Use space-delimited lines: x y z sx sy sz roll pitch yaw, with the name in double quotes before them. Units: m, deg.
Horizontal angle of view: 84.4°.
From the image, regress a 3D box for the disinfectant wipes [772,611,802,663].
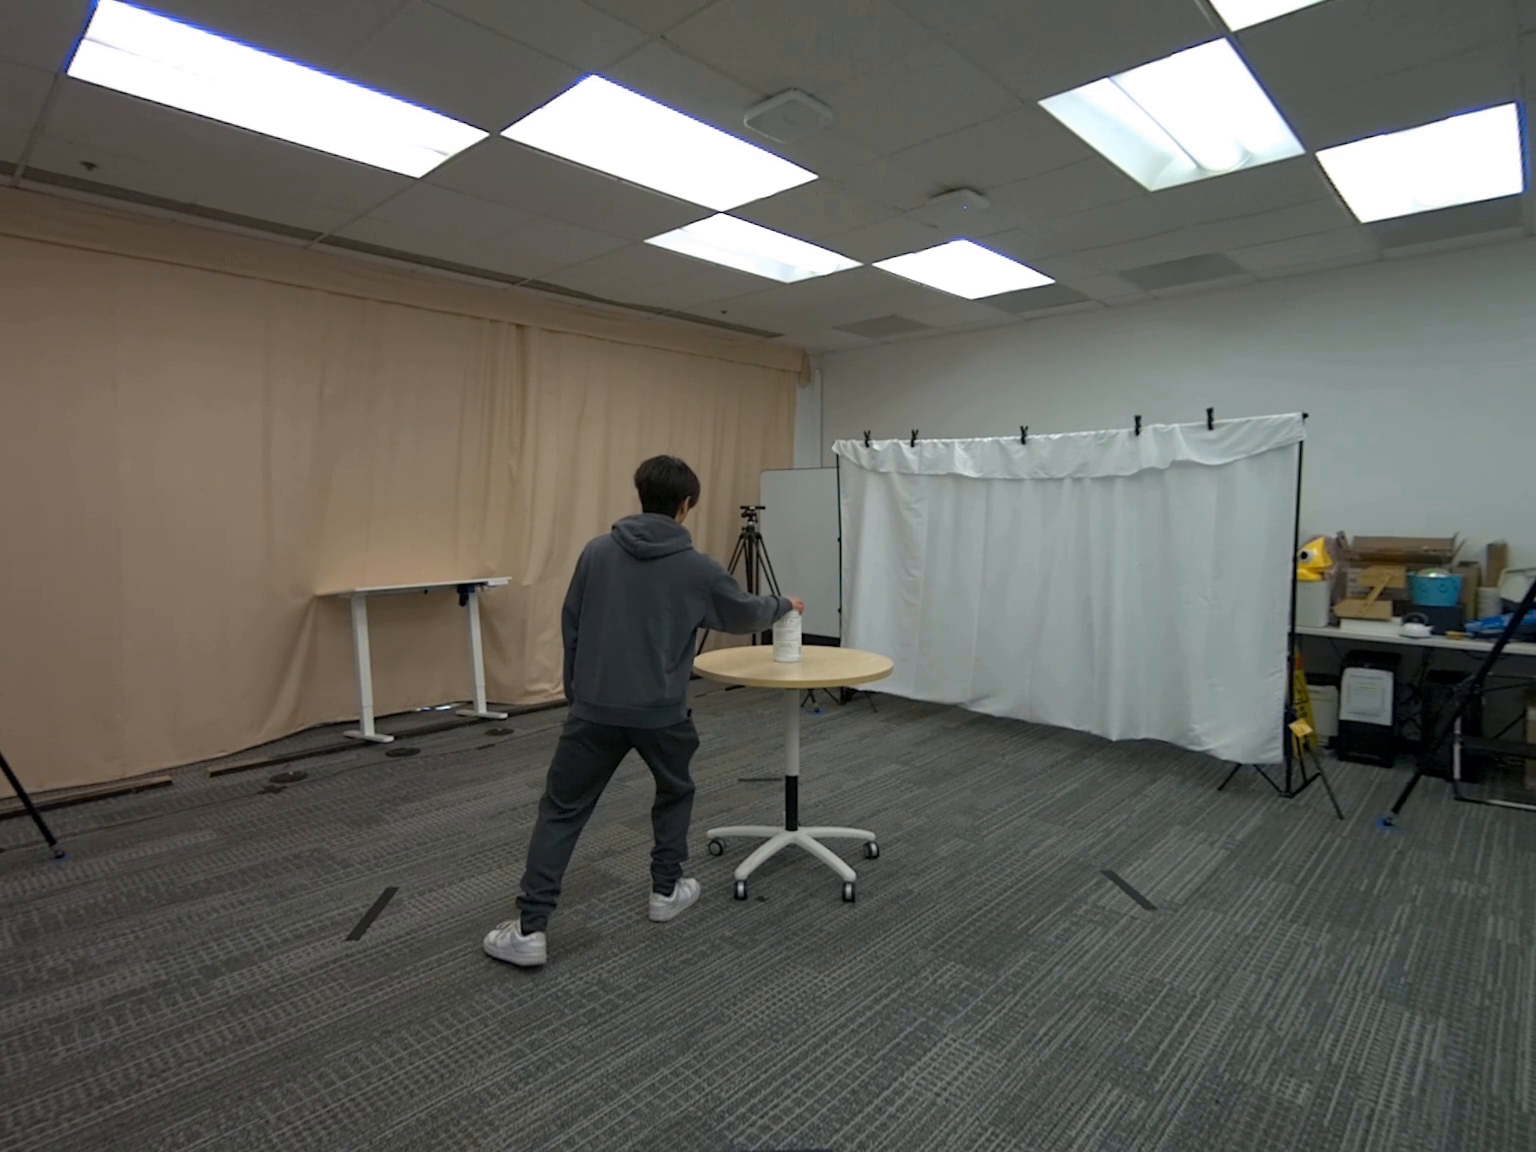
"disinfectant wipes" 0.081 0.220 3.239 0.118 0.217 0.118 0 4 -2
